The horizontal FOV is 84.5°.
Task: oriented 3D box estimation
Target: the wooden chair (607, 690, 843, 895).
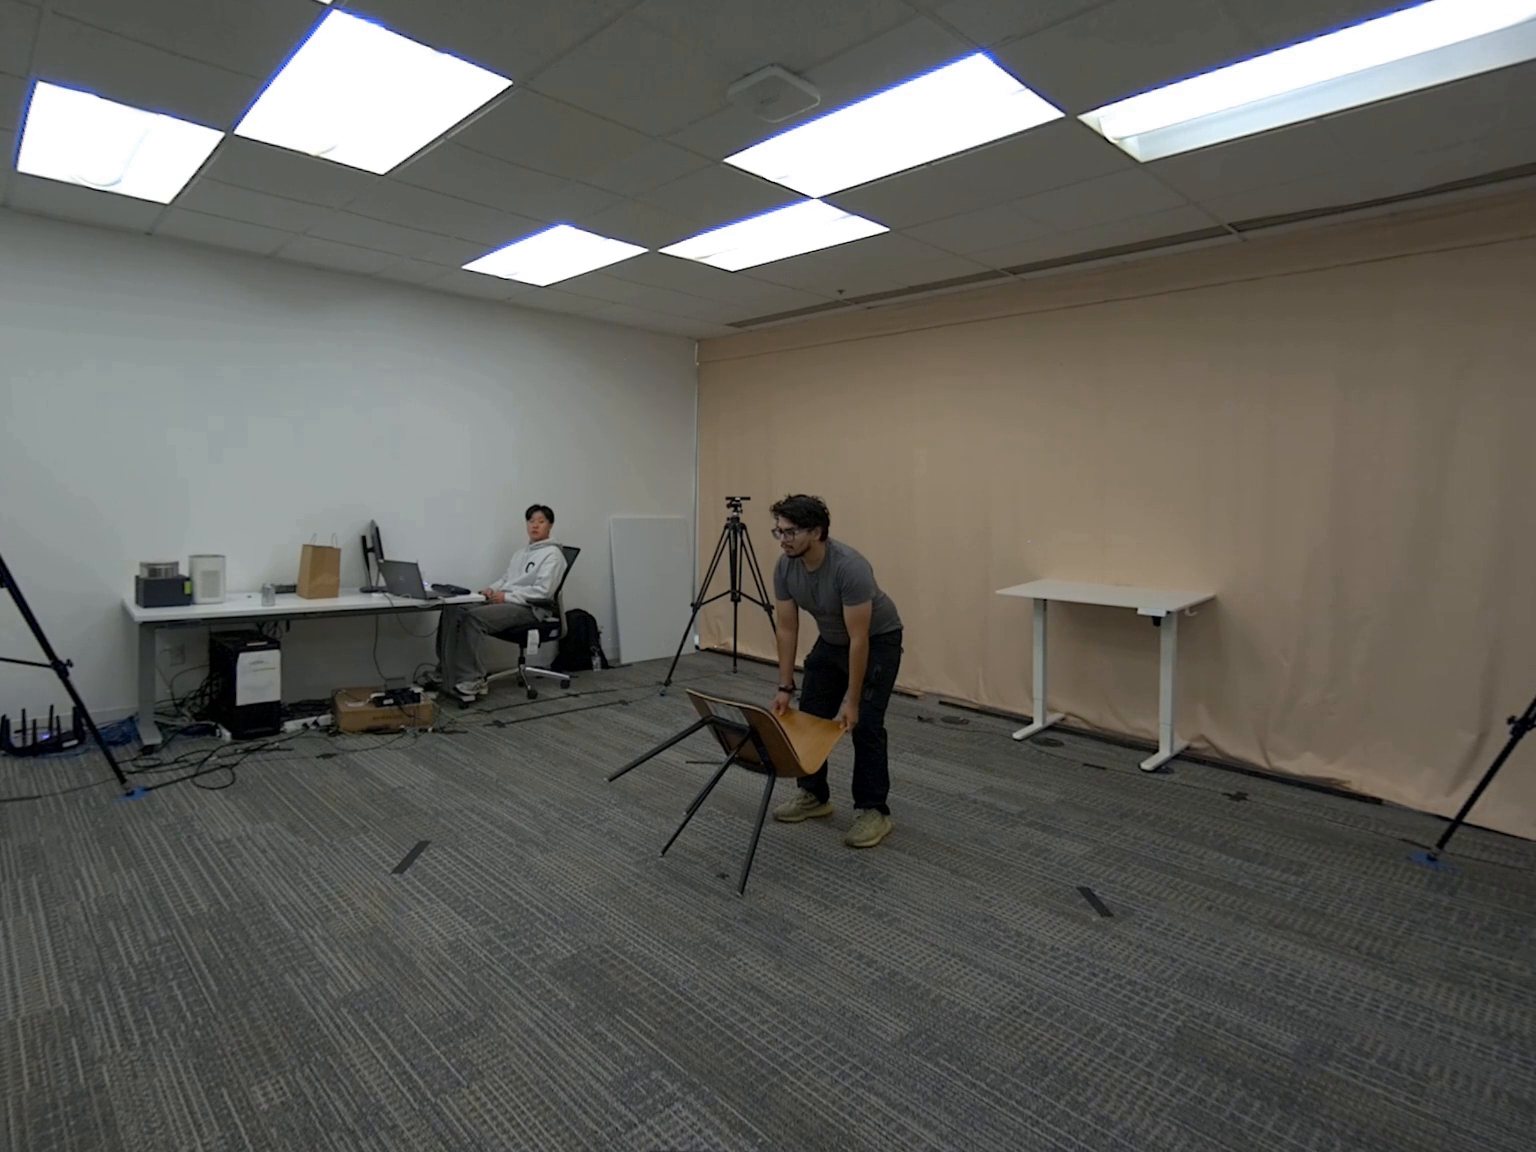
[{"bbox_3d":[-0.111,0.653,3.217,0.490,0.511,0.875,4,38,44],"label":"wooden chair"}]
